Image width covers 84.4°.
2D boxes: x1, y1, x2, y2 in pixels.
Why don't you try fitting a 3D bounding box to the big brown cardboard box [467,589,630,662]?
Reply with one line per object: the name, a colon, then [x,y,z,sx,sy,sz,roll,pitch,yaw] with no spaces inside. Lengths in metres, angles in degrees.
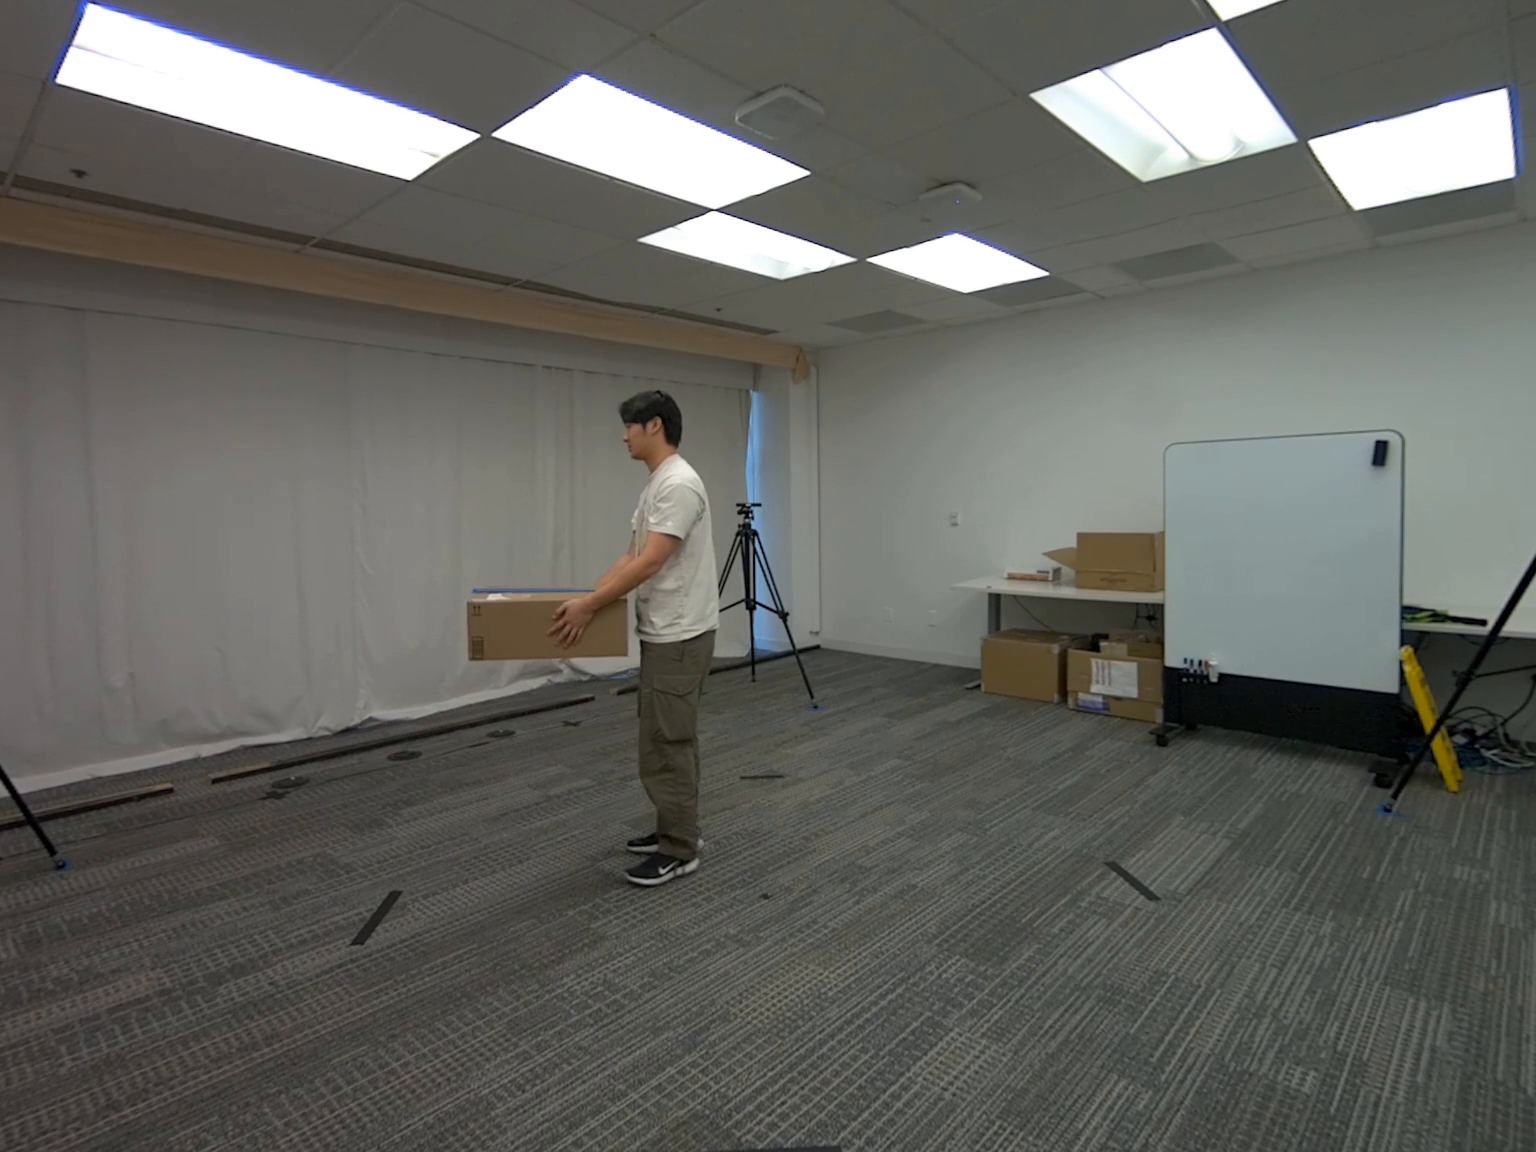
big brown cardboard box: [-0.834,0.173,3.212,0.583,0.232,0.423,0,5,-10]
